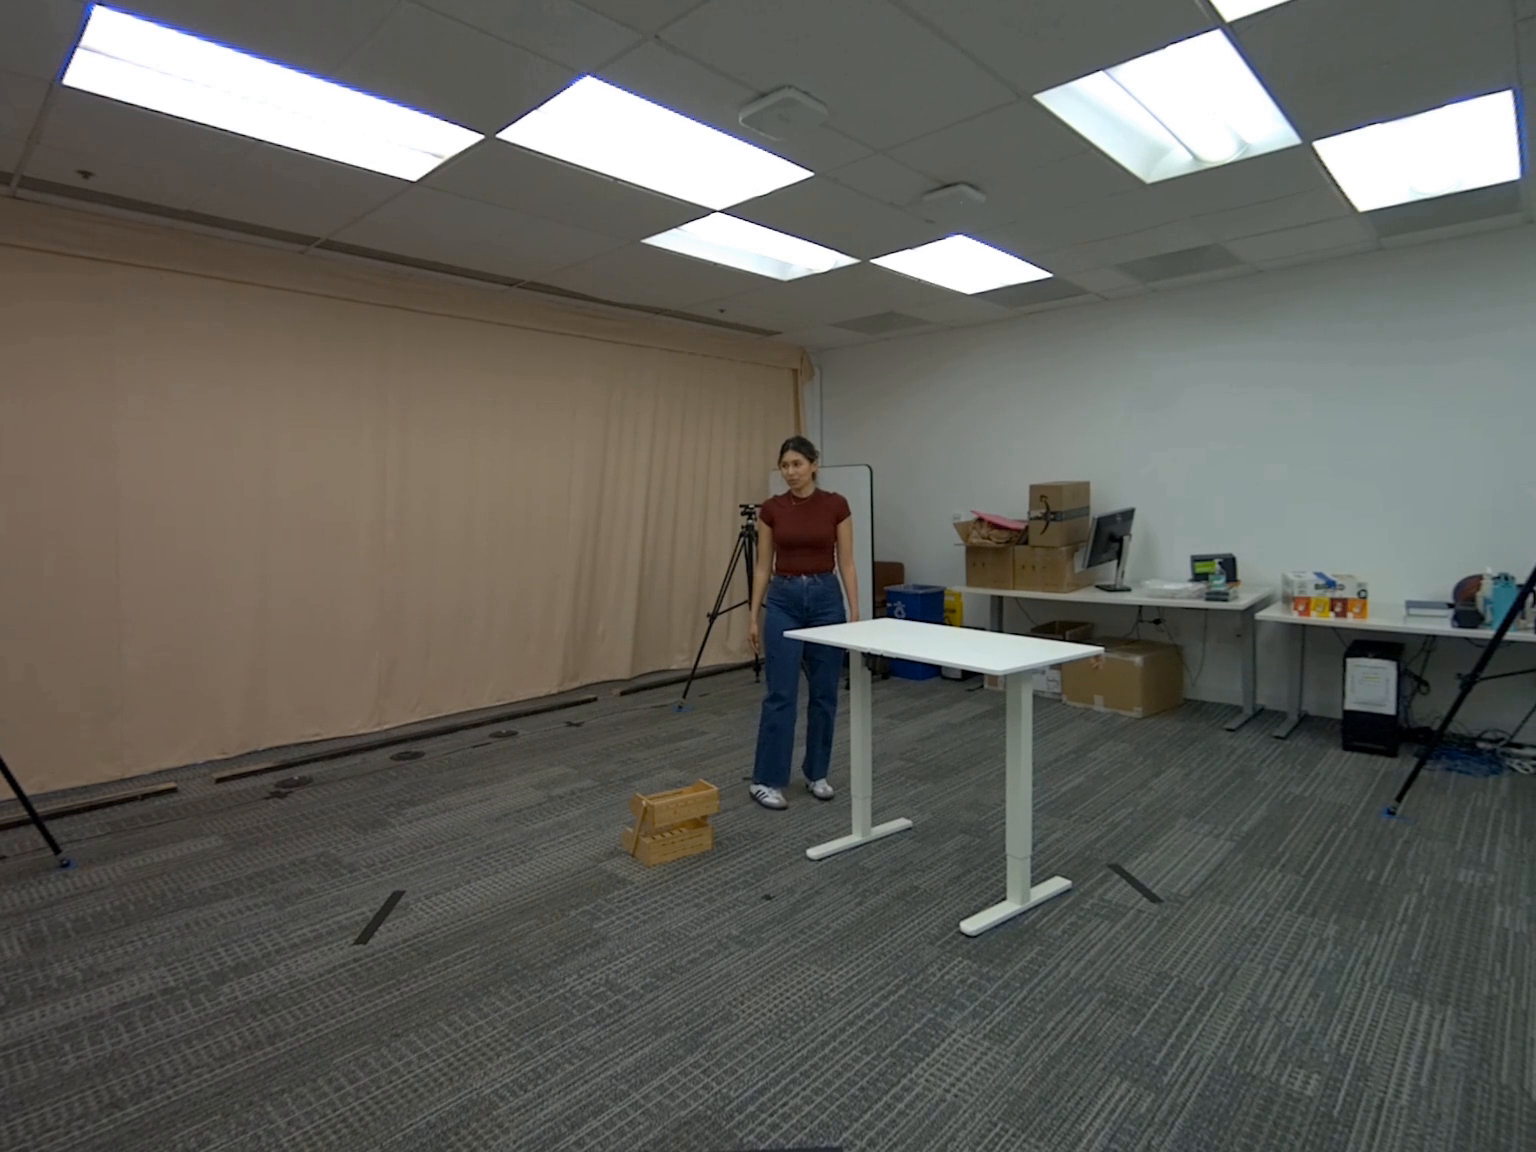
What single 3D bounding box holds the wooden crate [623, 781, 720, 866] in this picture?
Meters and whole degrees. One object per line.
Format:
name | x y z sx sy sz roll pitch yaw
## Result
wooden crate | -0.404 0.977 3.417 0.315 0.272 0.311 -4 5 -33
